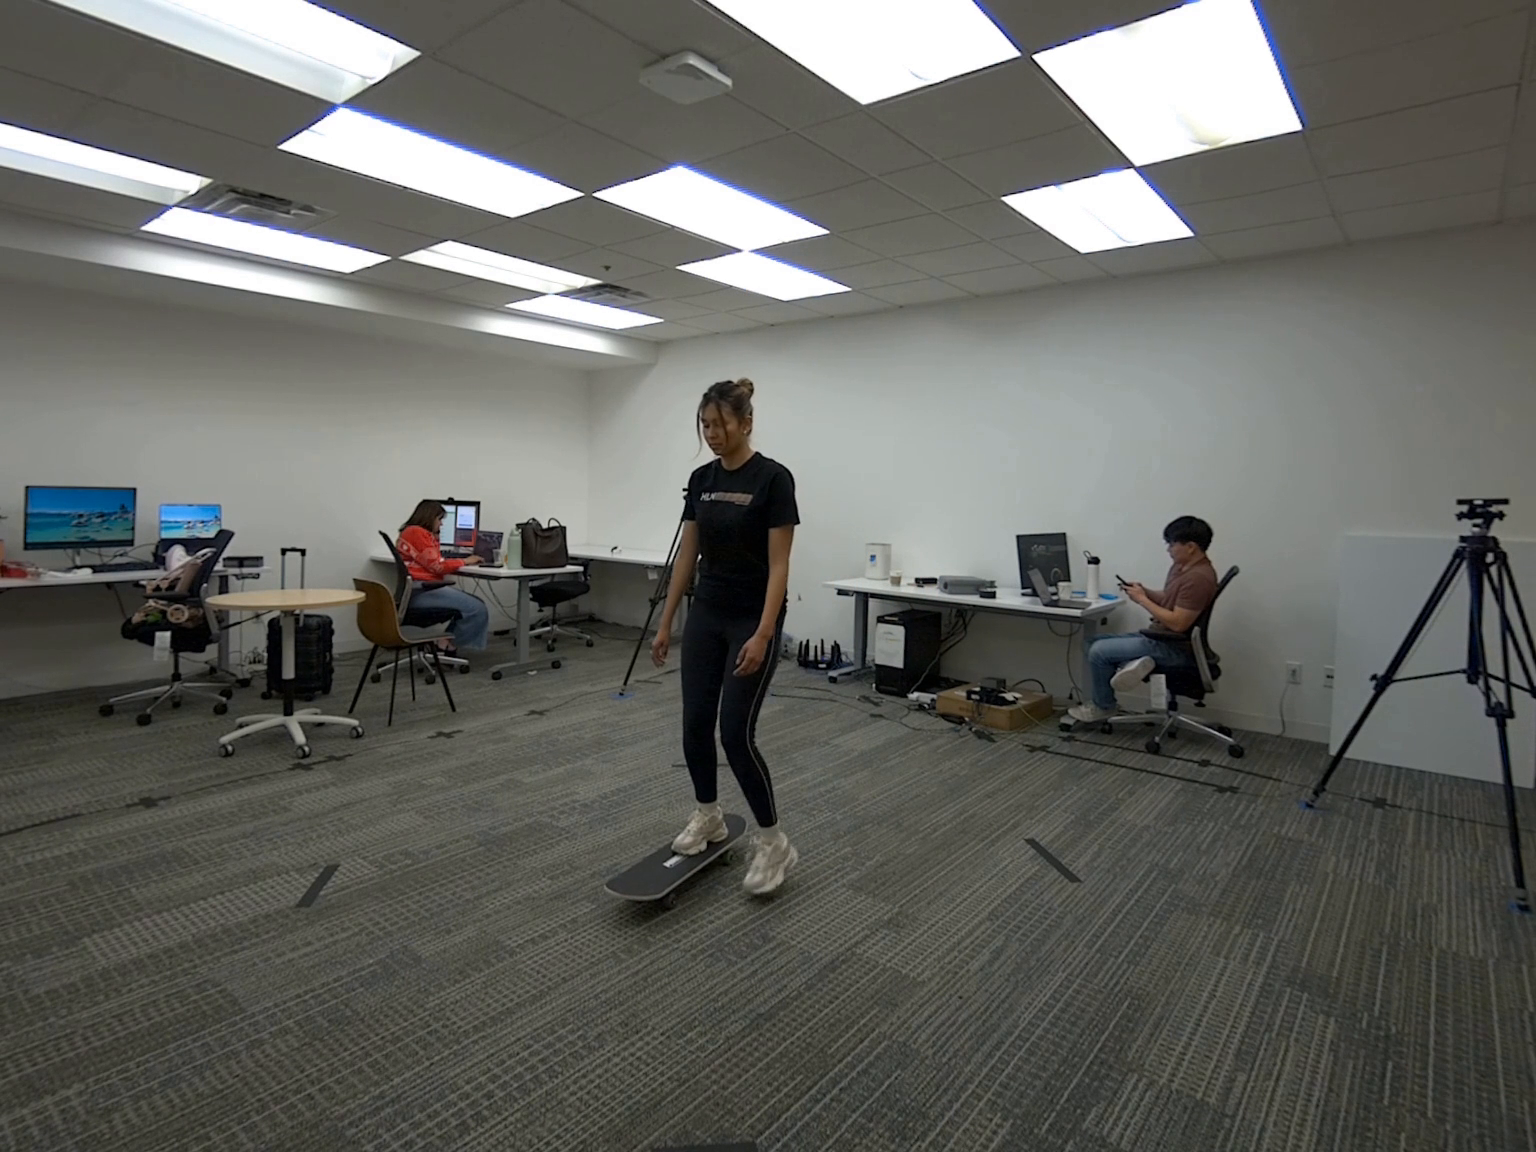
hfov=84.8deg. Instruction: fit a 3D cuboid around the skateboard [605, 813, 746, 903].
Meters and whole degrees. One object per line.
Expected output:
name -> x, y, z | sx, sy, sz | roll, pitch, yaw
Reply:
skateboard -> -0.313, 1.026, 3.015 | 0.199, 0.110, 0.766 | 4, 6, 27
